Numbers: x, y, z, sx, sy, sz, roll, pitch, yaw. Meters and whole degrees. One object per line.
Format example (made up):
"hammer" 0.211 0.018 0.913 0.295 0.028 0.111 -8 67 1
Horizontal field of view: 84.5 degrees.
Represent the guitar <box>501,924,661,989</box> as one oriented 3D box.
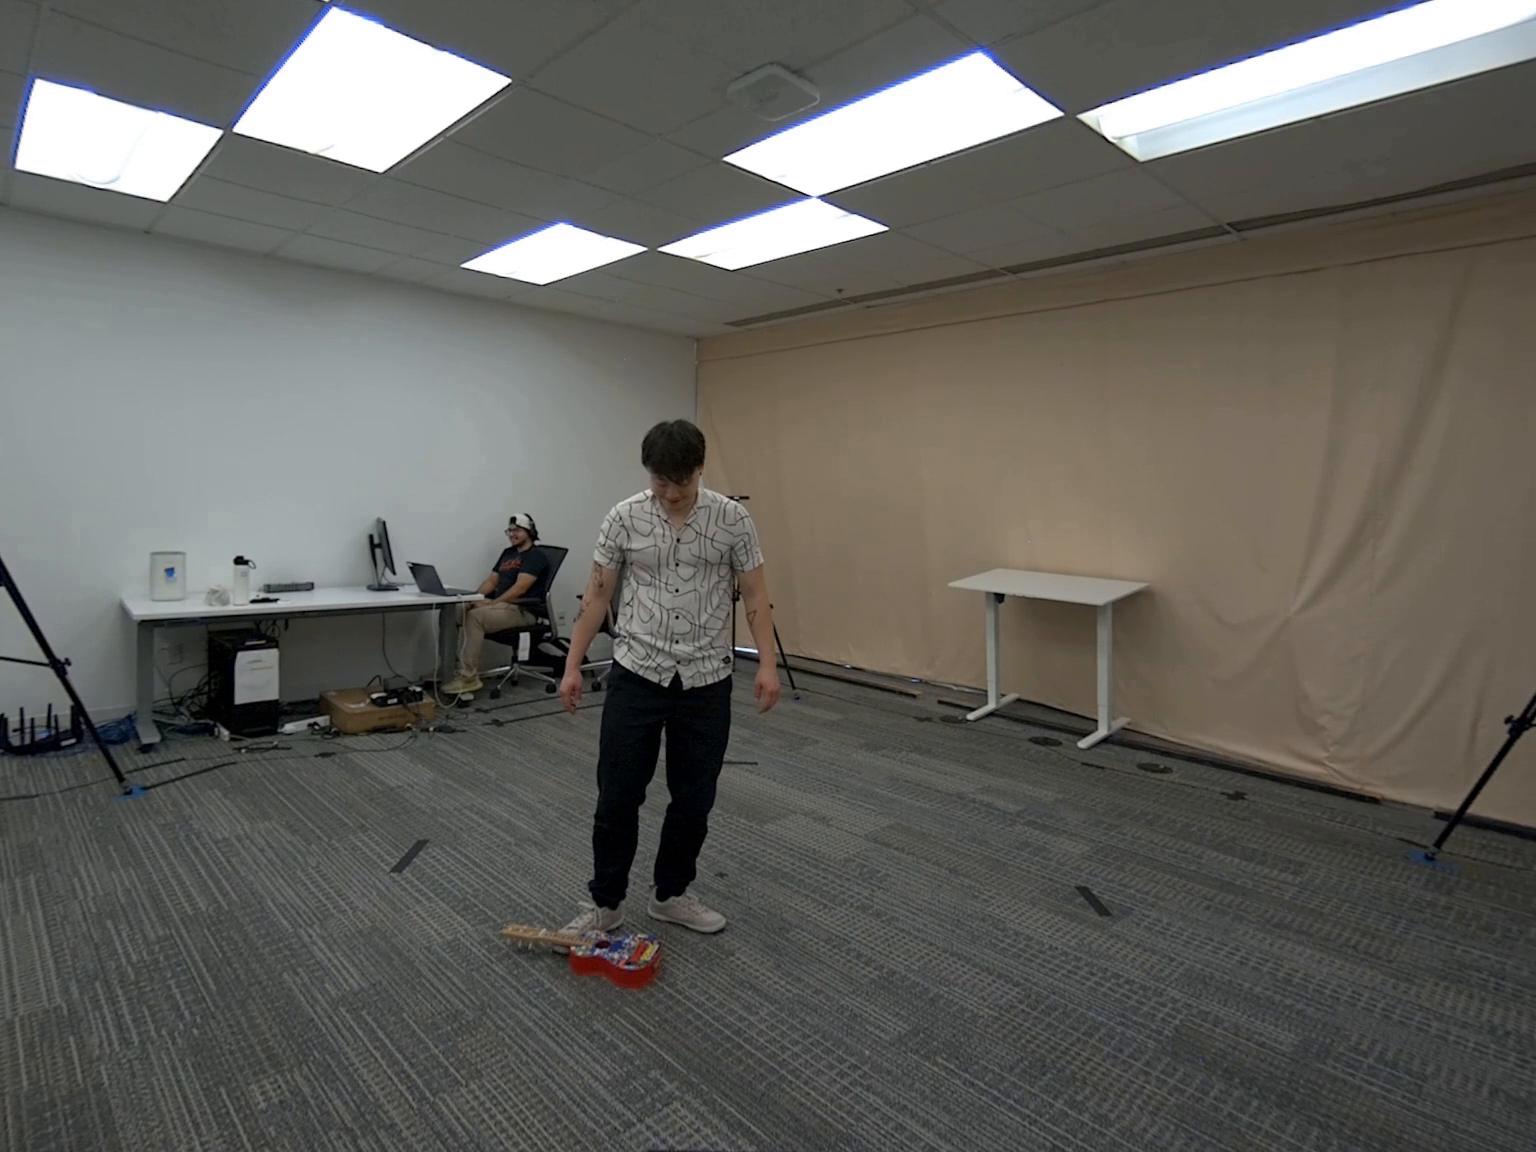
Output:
"guitar" -0.566 1.114 2.533 0.507 0.070 0.190 4 7 23
